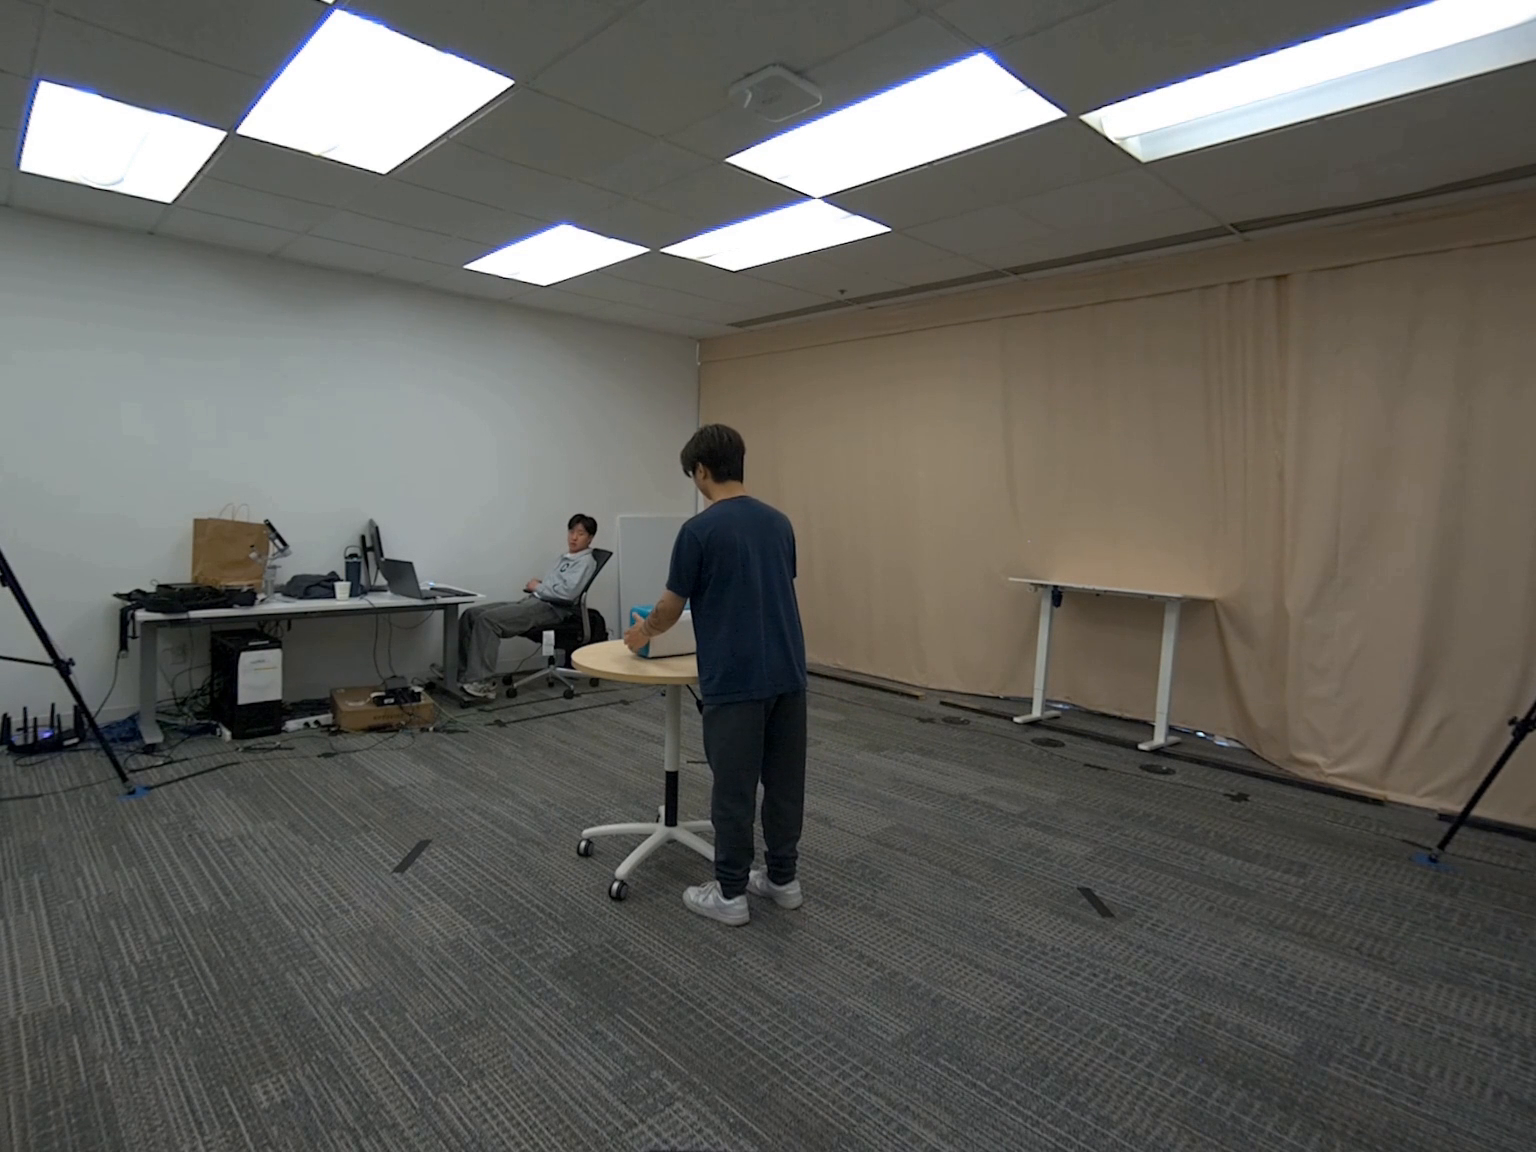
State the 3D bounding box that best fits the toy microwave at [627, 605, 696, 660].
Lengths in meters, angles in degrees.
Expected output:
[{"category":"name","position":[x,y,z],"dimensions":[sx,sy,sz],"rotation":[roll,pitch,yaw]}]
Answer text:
[{"category":"toy microwave","position":[-0.380,0.208,3.183],"dimensions":[0.280,0.183,0.156],"rotation":[-3,6,-36]}]
